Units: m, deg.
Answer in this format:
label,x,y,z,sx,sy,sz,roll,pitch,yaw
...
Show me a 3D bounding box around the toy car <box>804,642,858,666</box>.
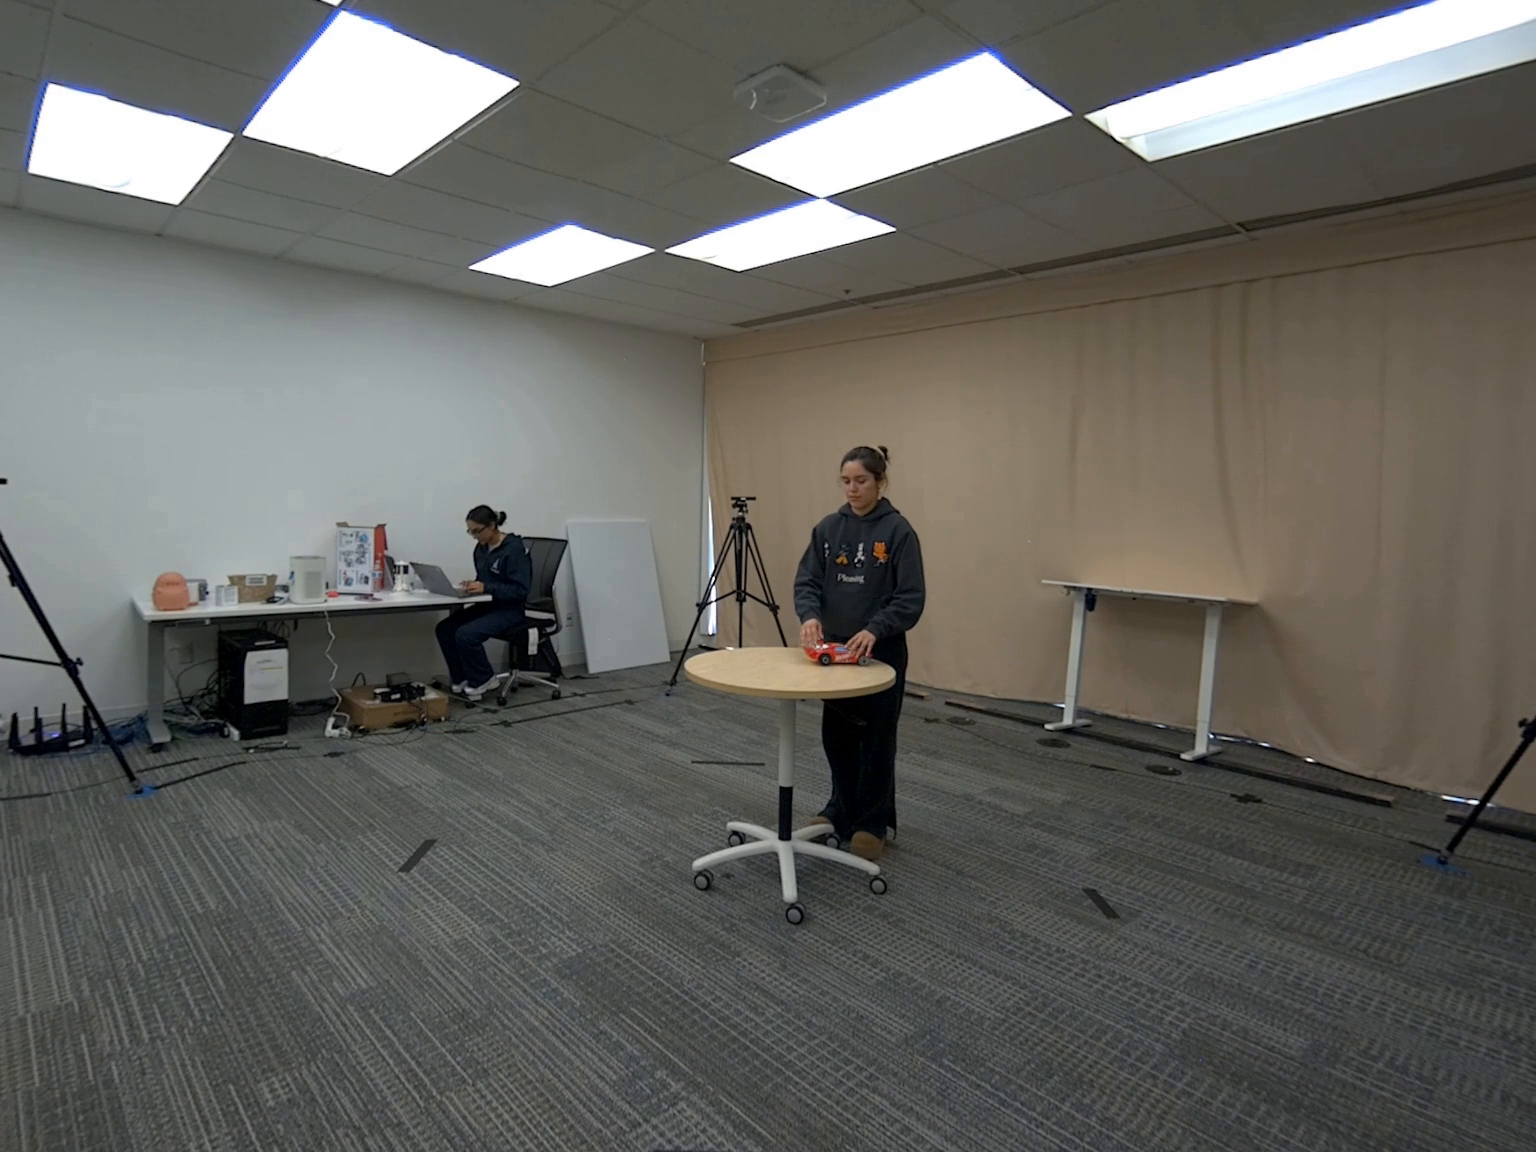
label,x,y,z,sx,sy,sz,roll,pitch,yaw
toy car,0.244,0.295,3.157,0.253,0.083,0.131,13,4,-6
